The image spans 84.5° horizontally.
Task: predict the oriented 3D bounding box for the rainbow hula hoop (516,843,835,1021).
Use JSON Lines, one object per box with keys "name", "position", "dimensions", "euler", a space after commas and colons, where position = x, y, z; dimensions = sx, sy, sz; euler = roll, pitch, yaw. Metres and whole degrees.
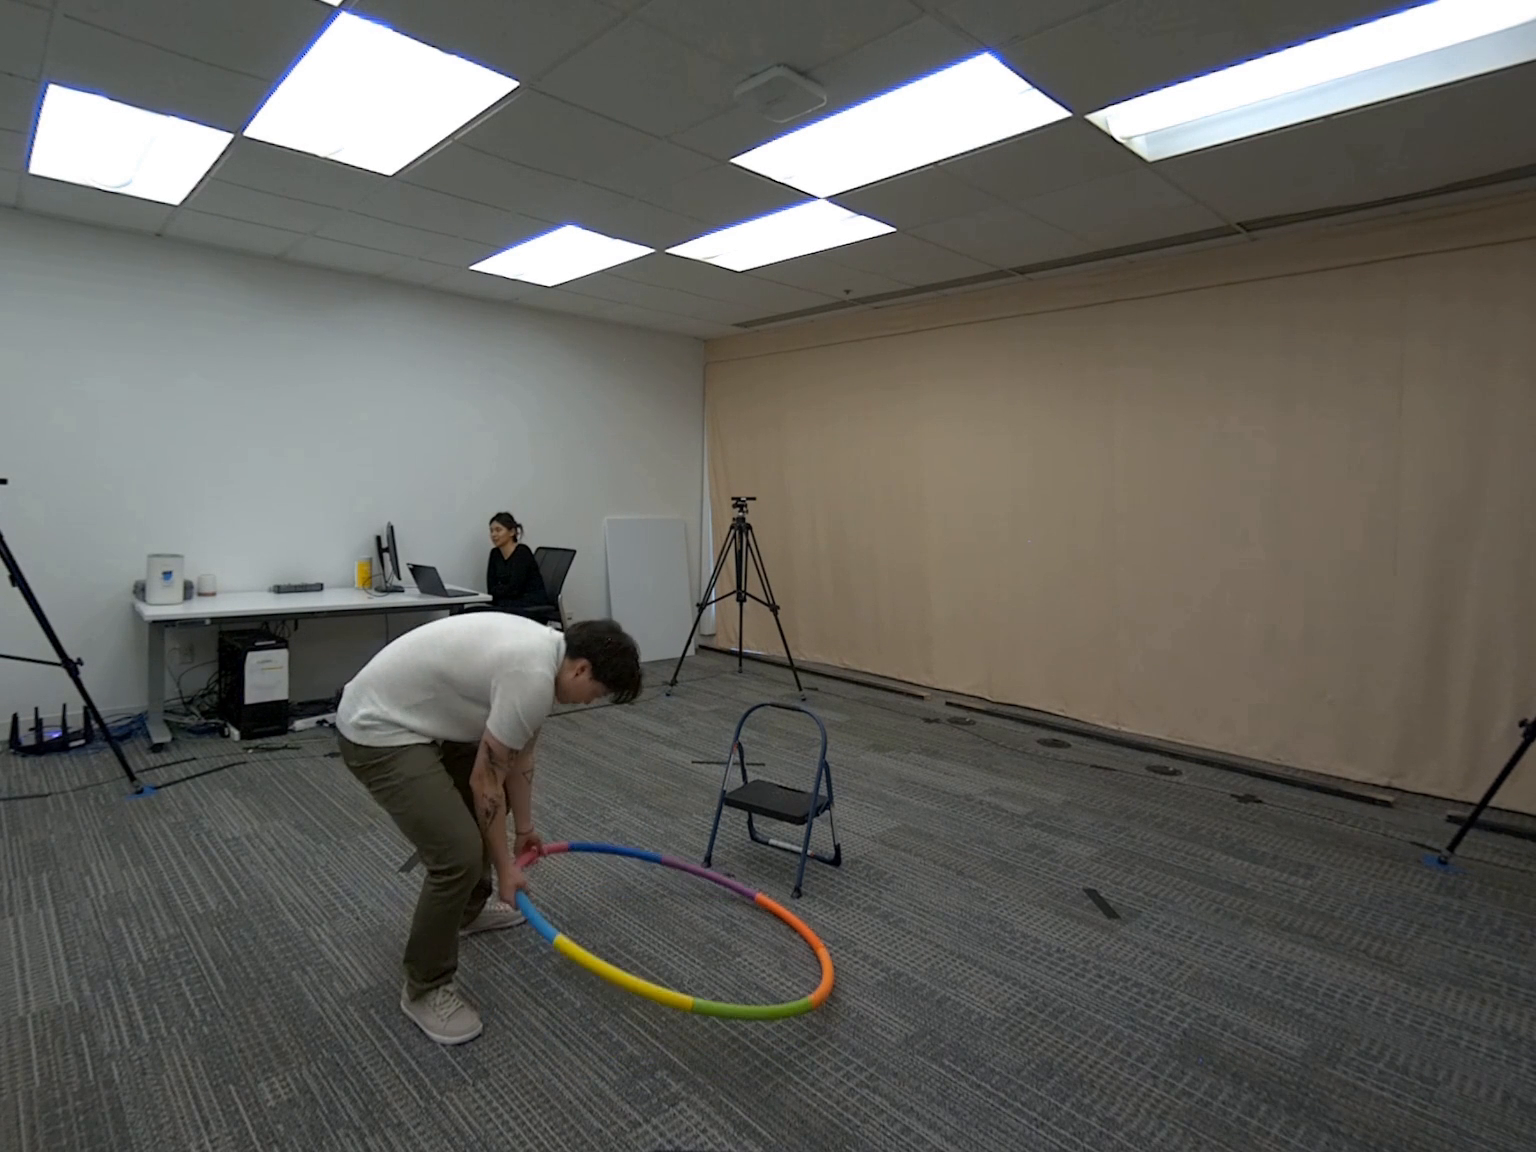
{"name": "rainbow hula hoop", "position": [-0.285, 0.996, 2.486], "dimensions": [0.979, 0.035, 0.978], "euler": [18, -1, -1]}
